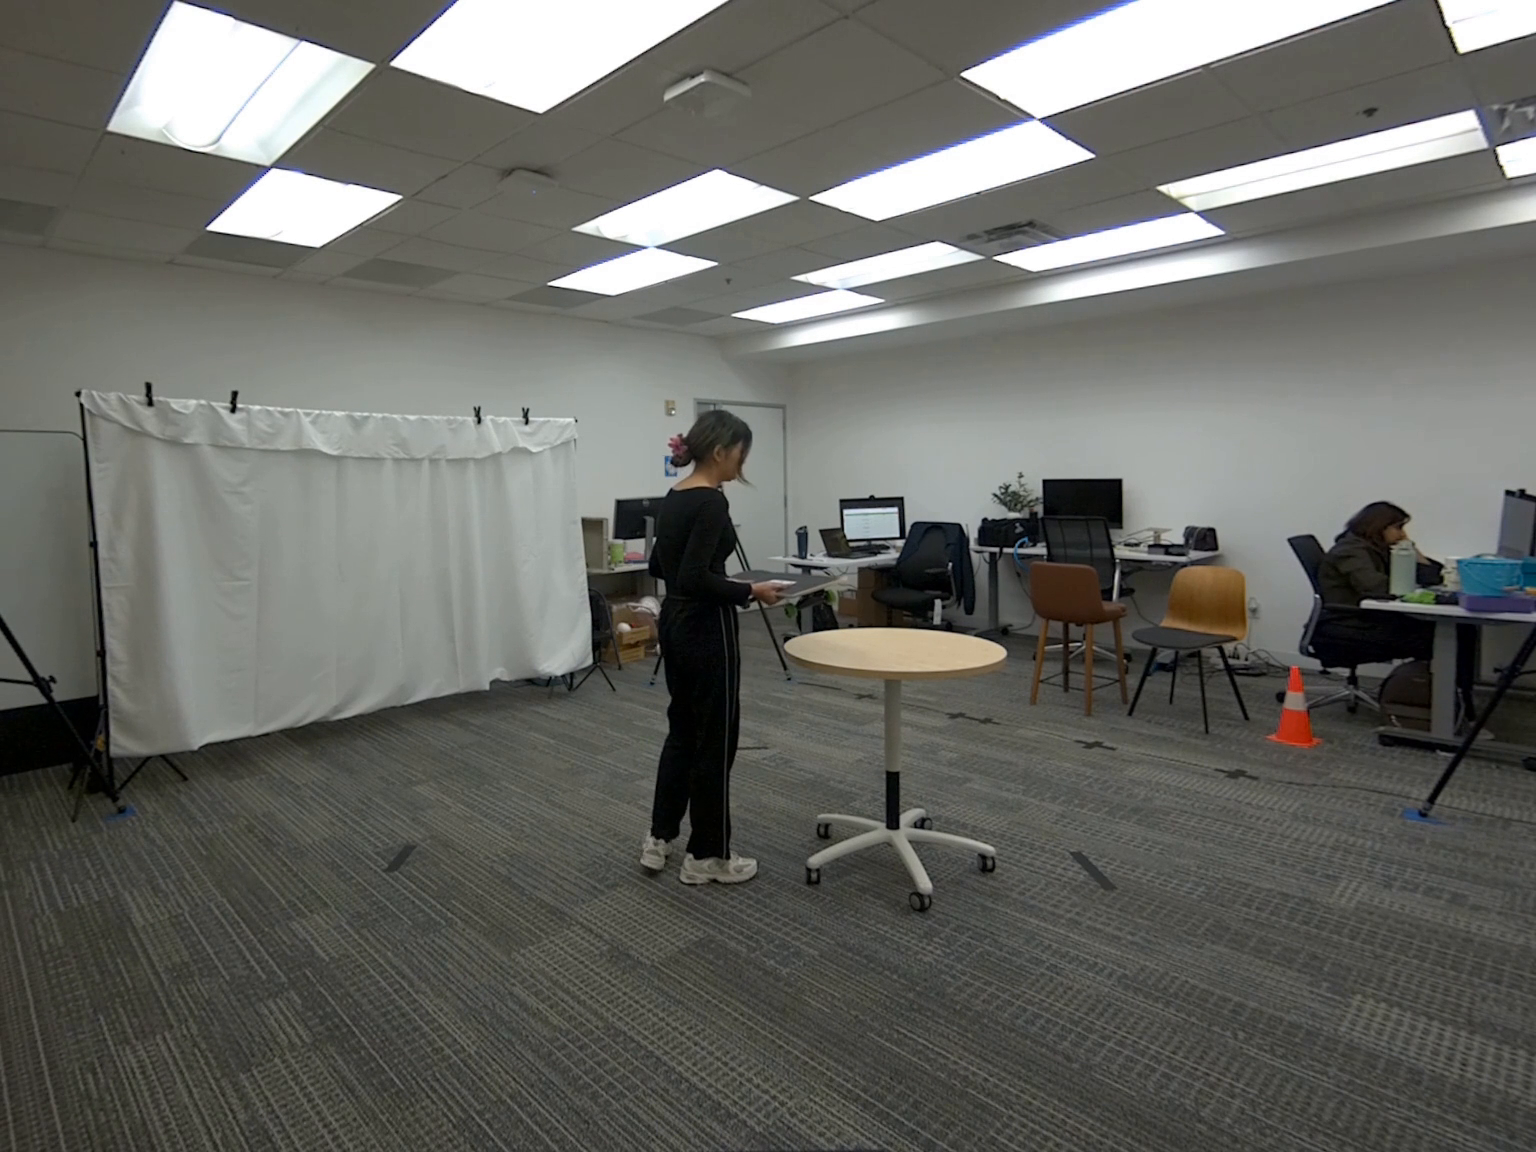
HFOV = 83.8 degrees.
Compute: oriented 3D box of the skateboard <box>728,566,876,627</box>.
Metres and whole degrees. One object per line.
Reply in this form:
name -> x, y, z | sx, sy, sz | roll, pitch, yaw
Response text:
skateboard -> 0.056, 0.058, 3.008 | 0.190, 0.109, 0.805 | -14, 9, -26
